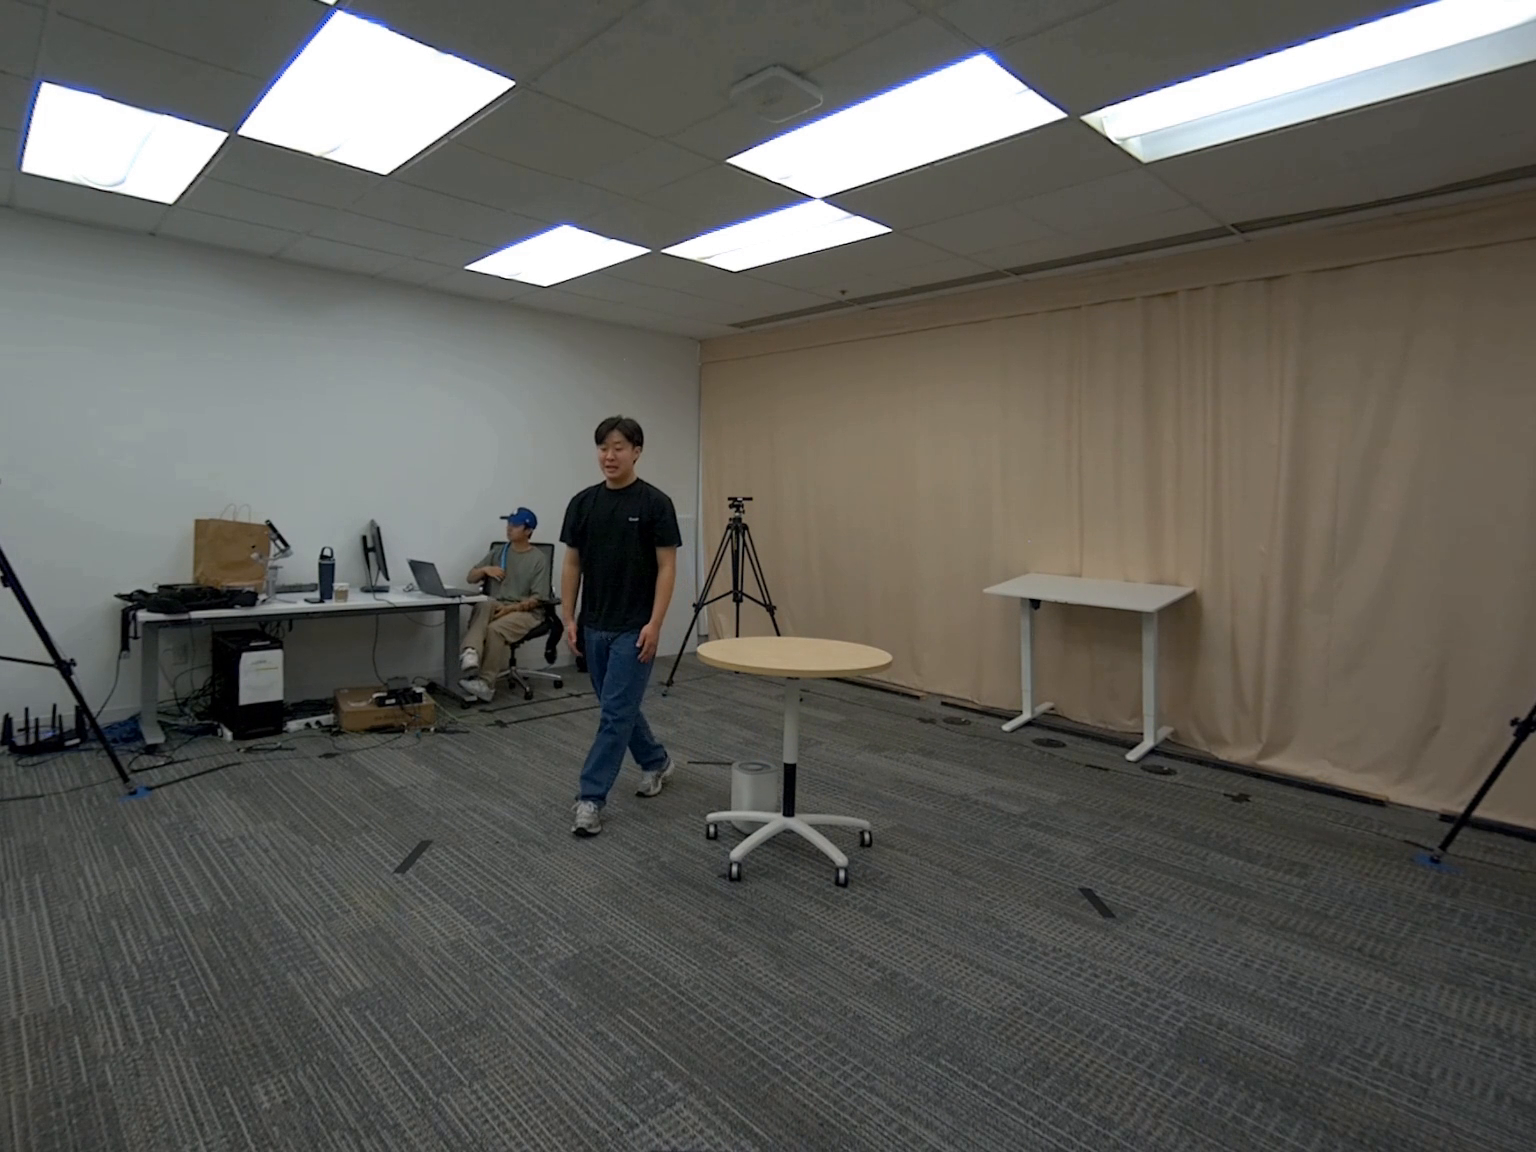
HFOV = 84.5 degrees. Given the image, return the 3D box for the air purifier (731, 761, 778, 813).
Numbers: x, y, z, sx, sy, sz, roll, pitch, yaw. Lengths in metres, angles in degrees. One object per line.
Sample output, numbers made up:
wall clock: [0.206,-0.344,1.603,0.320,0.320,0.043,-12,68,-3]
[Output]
air purifier: [-0.074,0.942,3.570,0.168,0.264,0.176,-2,7,-31]
